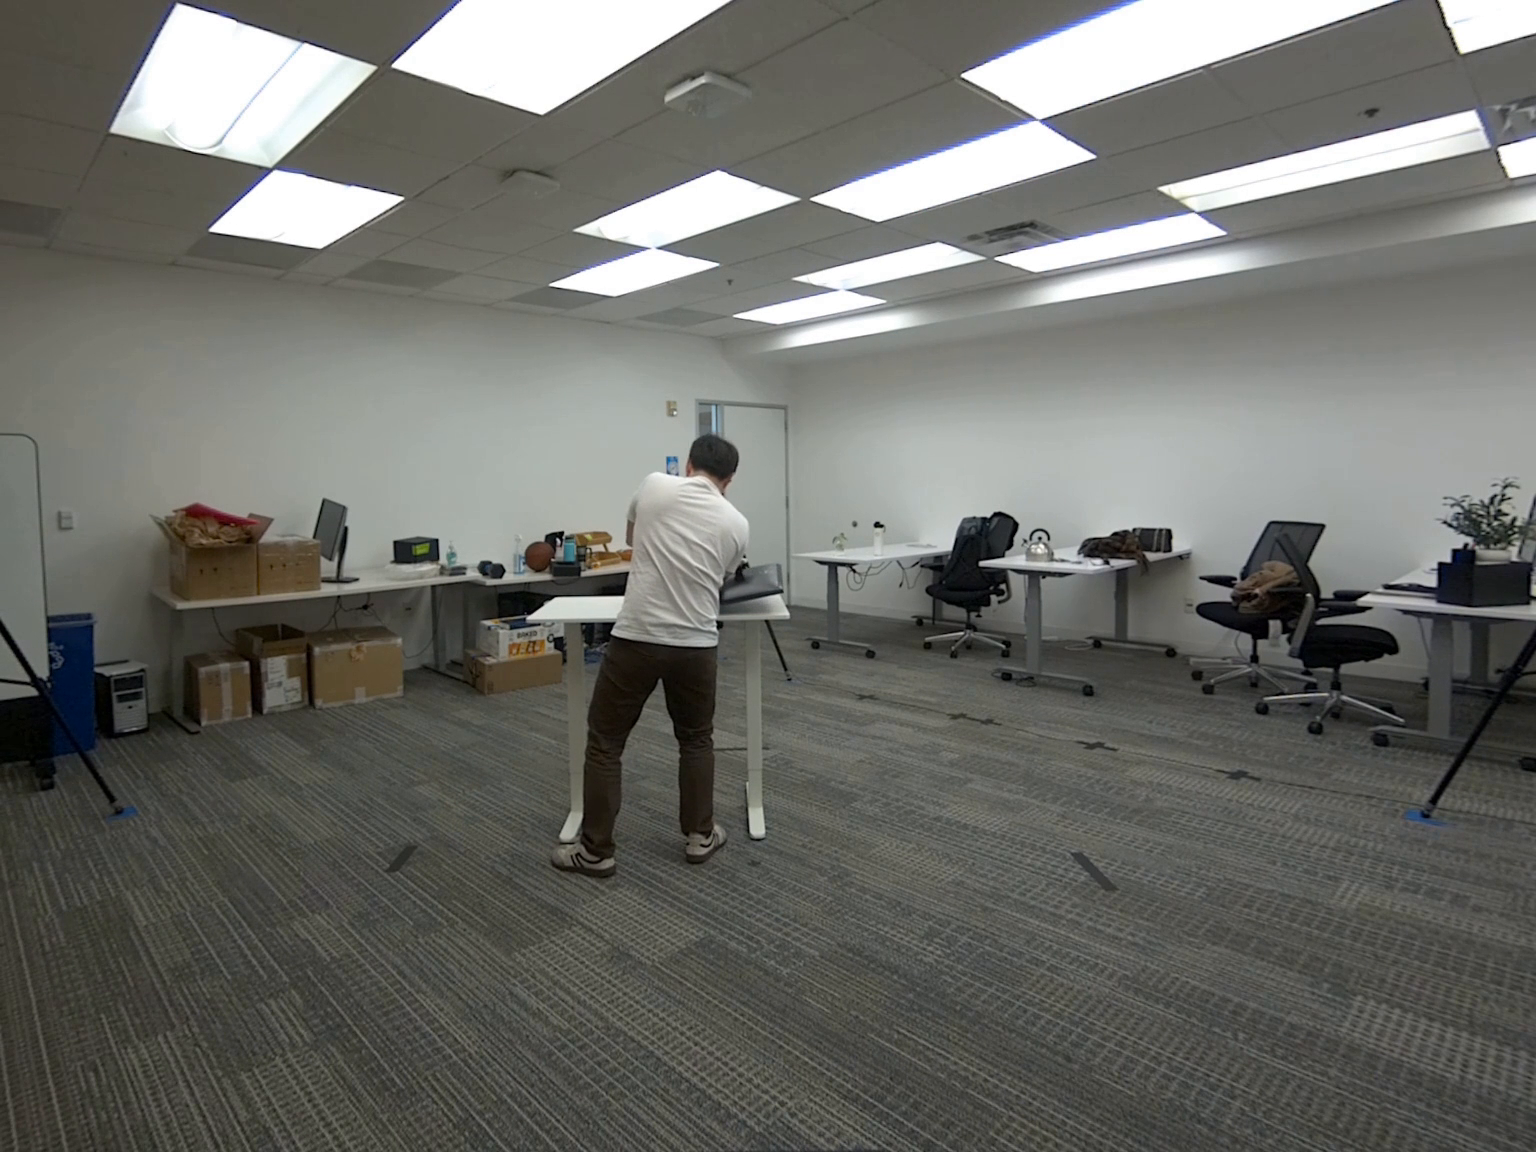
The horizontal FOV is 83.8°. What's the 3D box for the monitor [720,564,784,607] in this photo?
[{"bbox_3d":[-0.211,-0.005,3.506,0.525,0.185,0.542,6,13,3],"label":"monitor"}]
